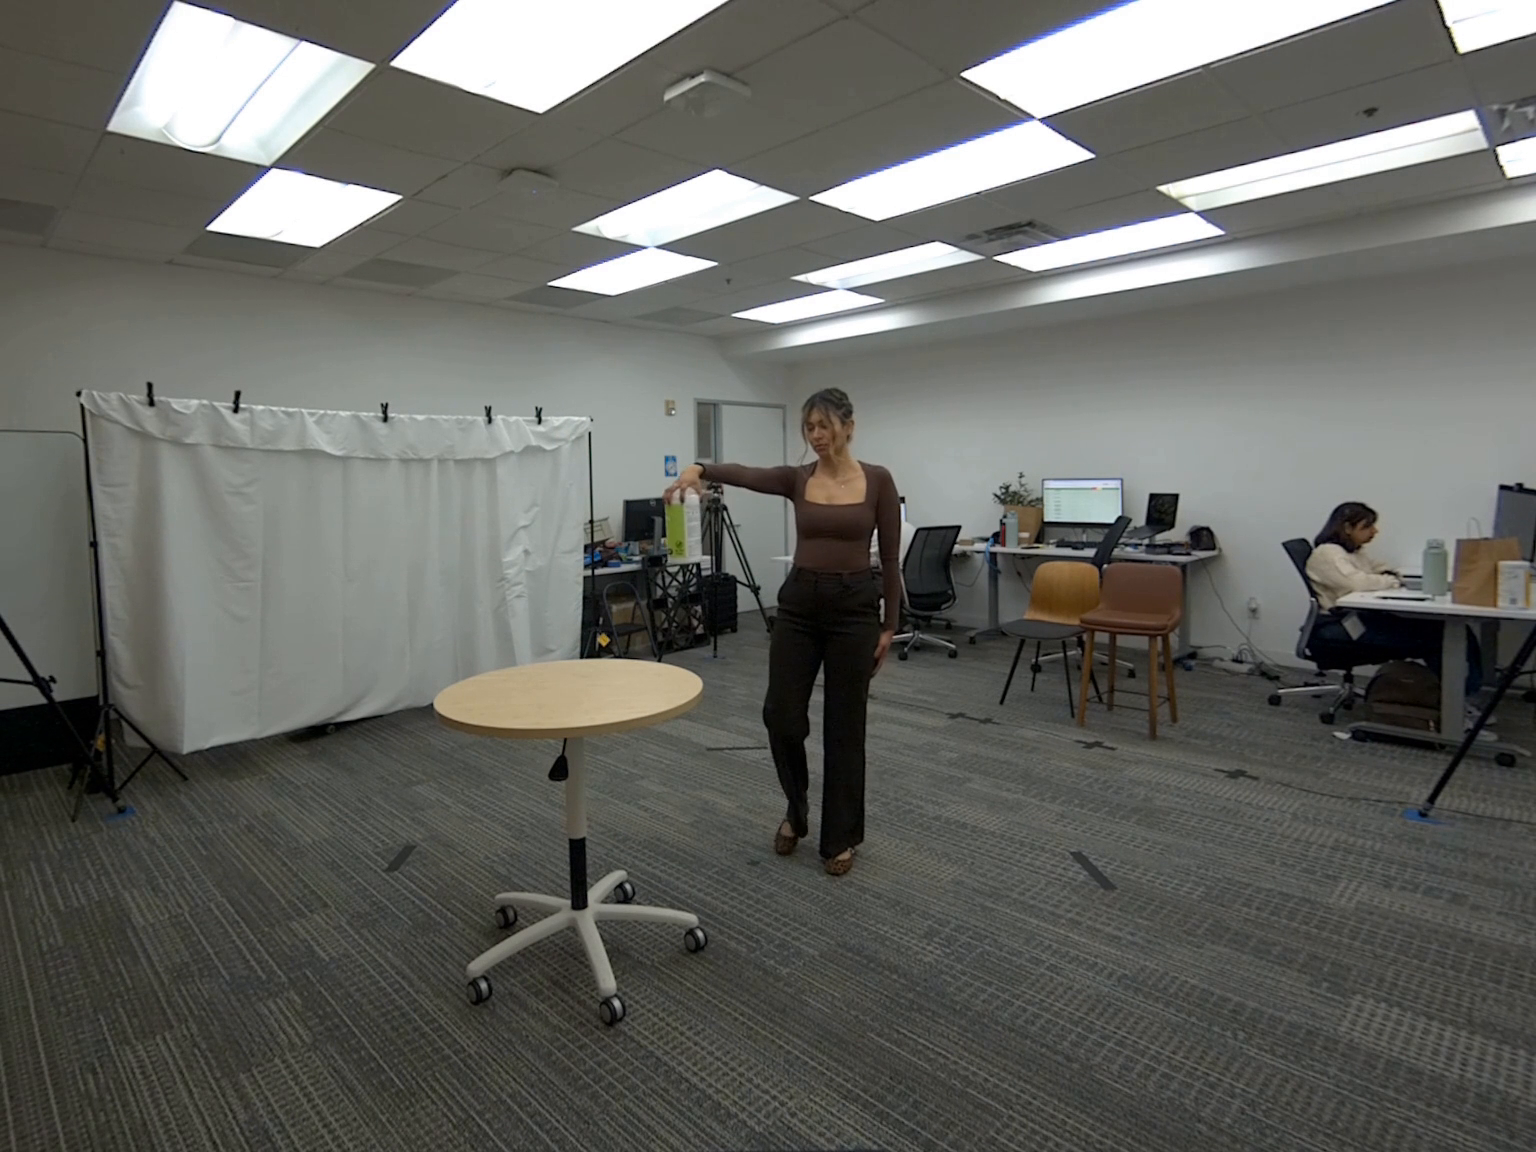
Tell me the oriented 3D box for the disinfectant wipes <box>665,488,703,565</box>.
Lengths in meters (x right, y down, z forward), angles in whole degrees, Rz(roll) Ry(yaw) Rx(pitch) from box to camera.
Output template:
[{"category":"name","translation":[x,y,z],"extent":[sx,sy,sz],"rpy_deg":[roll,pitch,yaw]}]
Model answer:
[{"category":"disinfectant wipes","translation":[-0.265,-0.147,2.705],"extent":[0.118,0.217,0.118],"rpy_deg":[-3,2,-2]}]
